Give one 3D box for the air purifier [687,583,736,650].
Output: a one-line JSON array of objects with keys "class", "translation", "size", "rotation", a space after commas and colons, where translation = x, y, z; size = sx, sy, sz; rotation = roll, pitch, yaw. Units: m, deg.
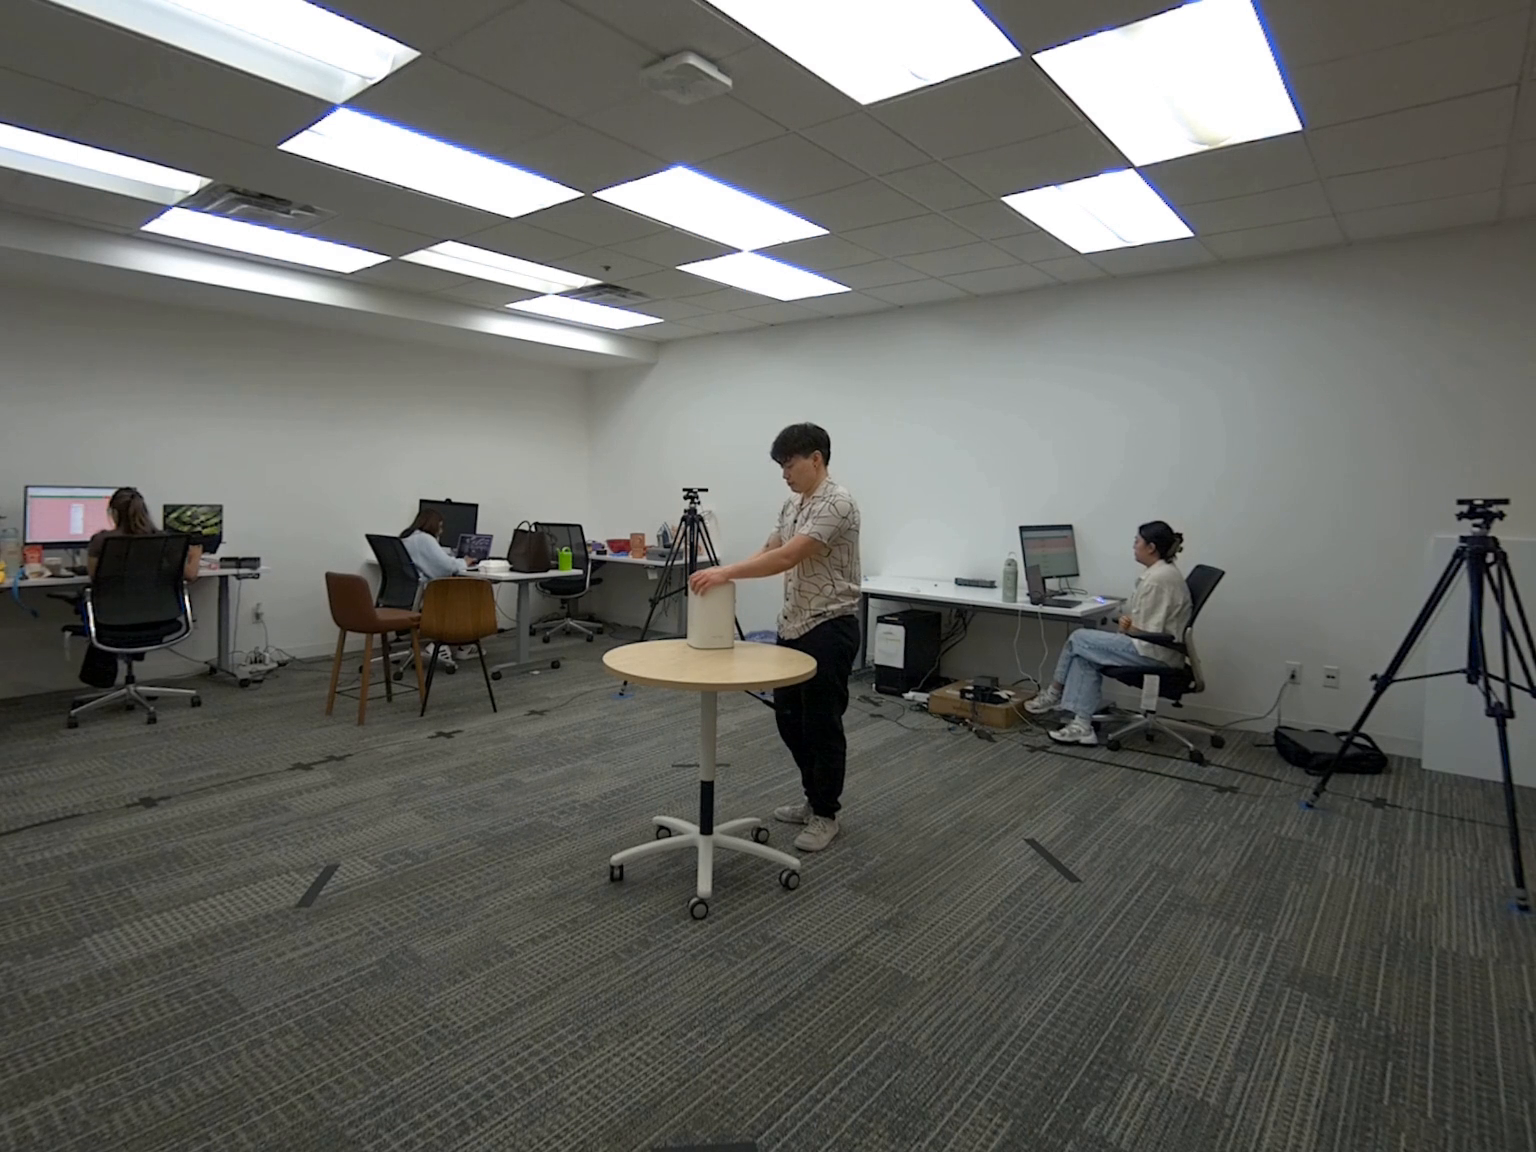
[{"class": "air purifier", "translation": [-0.235, 0.136, 3.309], "size": [0.169, 0.265, 0.174], "rotation": [0, 3, -14]}]
